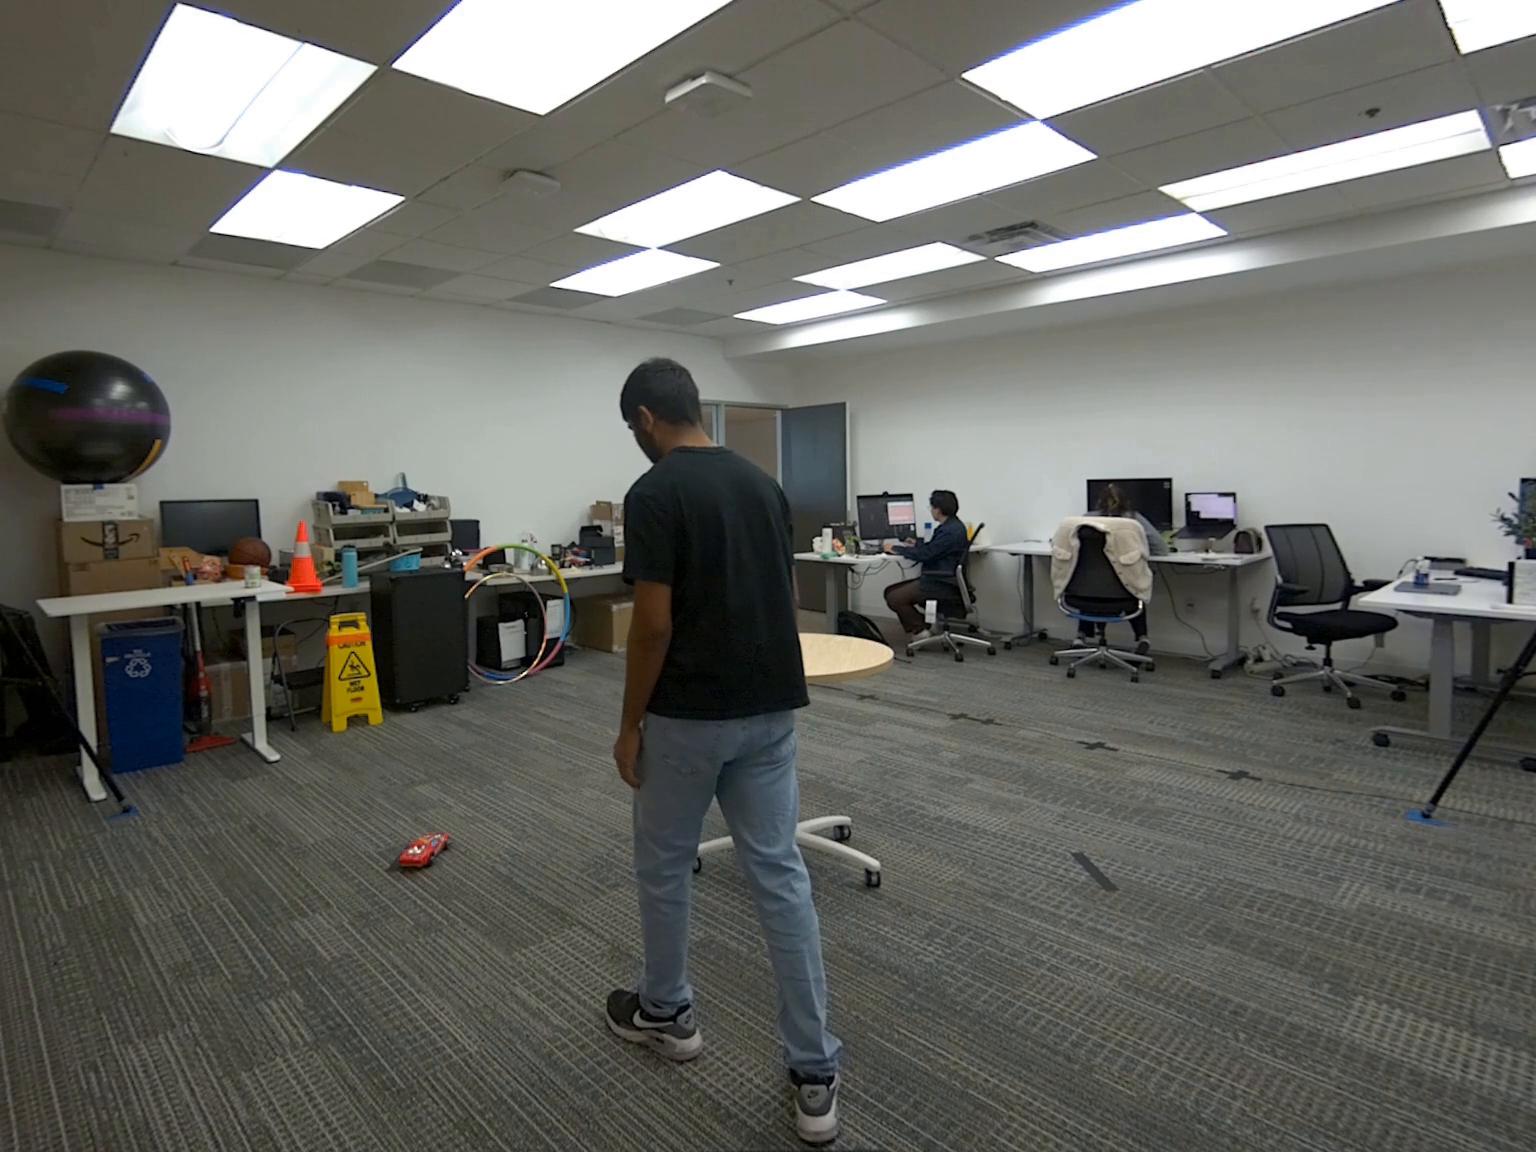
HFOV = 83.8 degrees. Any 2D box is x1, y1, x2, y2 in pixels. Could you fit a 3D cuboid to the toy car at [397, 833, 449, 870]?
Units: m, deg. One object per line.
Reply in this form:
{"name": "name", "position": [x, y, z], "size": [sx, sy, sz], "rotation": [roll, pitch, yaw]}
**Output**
{"name": "toy car", "position": [-1.287, 1.030, 3.201], "size": [0.131, 0.083, 0.251], "rotation": [0, -4, 6]}
